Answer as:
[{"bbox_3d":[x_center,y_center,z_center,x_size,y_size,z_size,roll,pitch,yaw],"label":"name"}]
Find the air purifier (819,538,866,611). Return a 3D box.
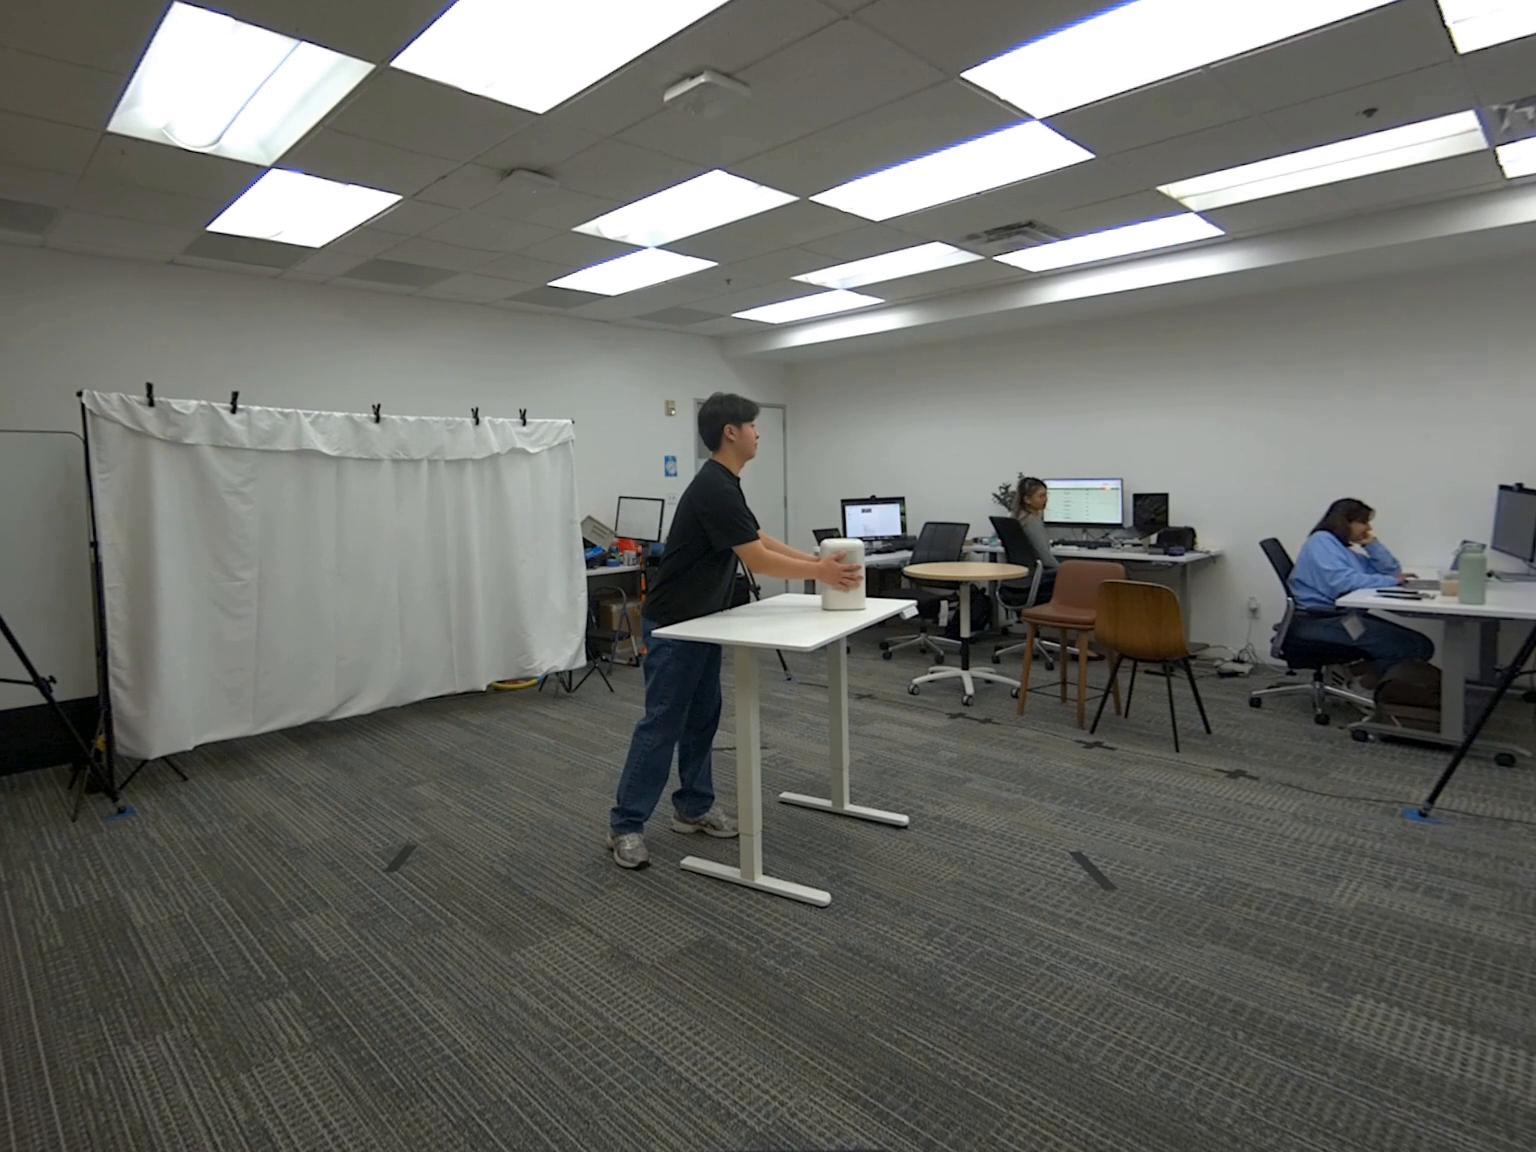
[{"bbox_3d":[0.287,-0.008,3.321,0.172,0.264,0.171,-2,5,2],"label":"air purifier"}]
